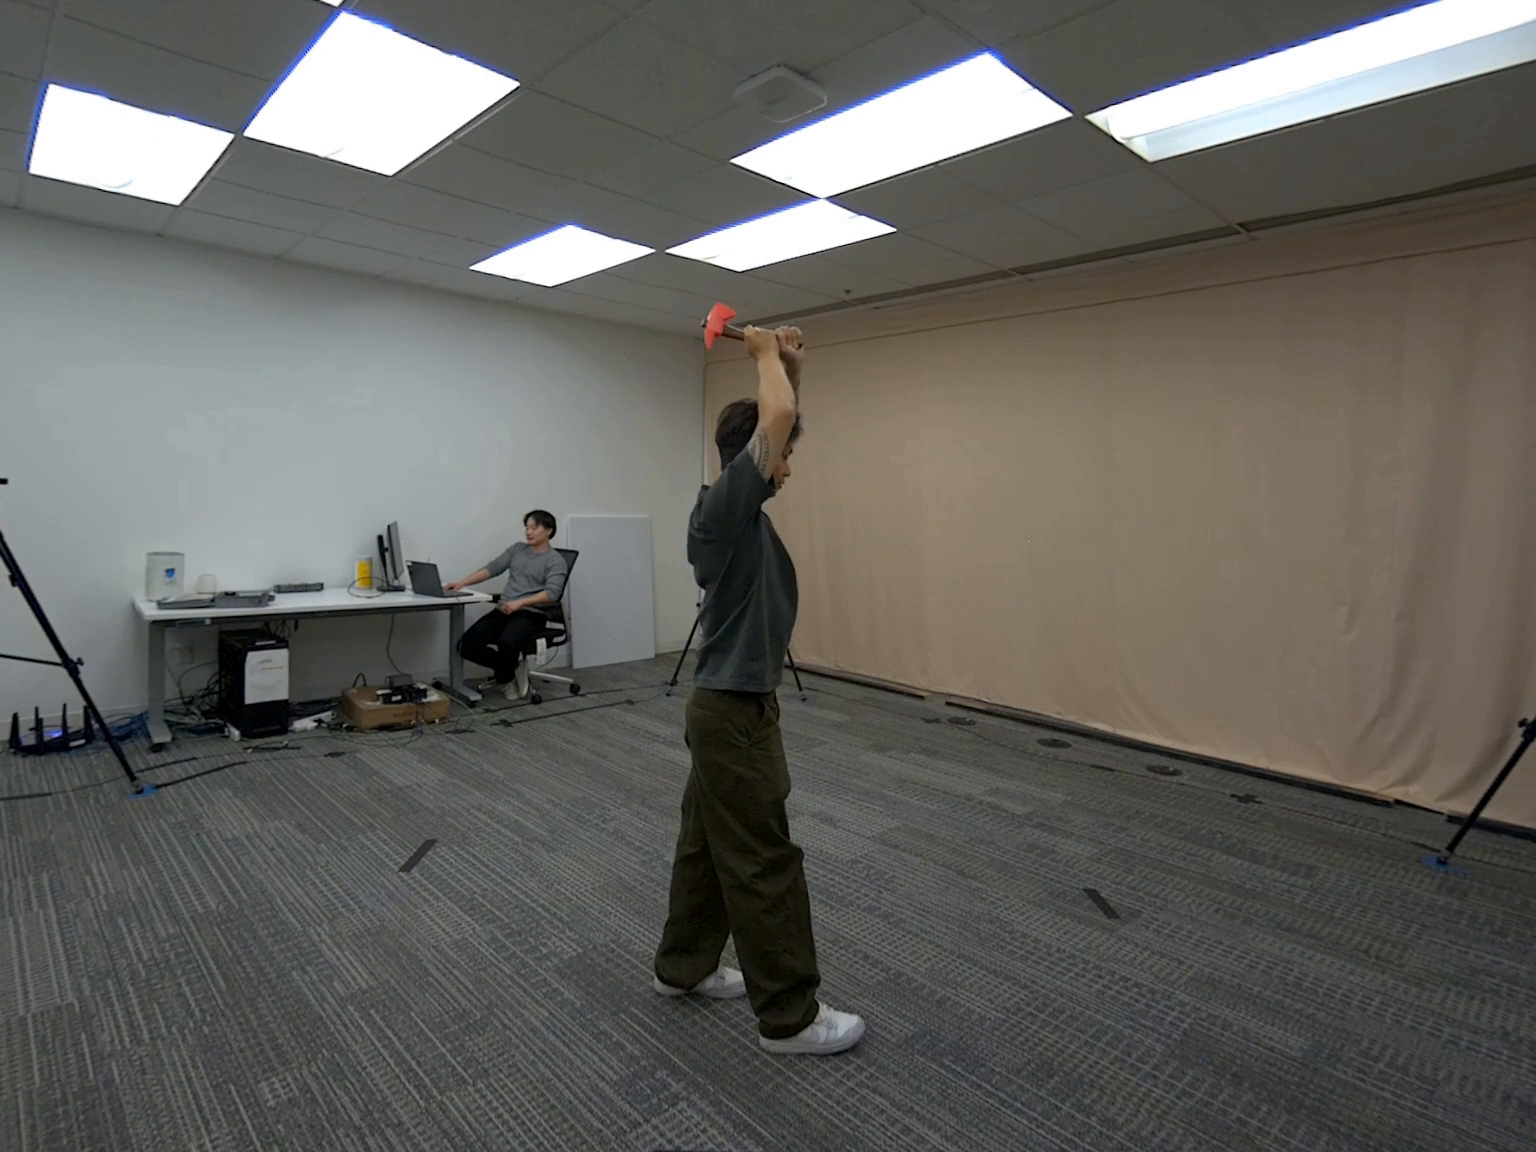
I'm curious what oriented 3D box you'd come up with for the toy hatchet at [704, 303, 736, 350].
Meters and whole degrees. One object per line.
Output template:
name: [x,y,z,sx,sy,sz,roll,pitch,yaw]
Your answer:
toy hatchet: [-0.042,-0.657,2.204,0.268,0.132,0.029,-6,-12,-10]
